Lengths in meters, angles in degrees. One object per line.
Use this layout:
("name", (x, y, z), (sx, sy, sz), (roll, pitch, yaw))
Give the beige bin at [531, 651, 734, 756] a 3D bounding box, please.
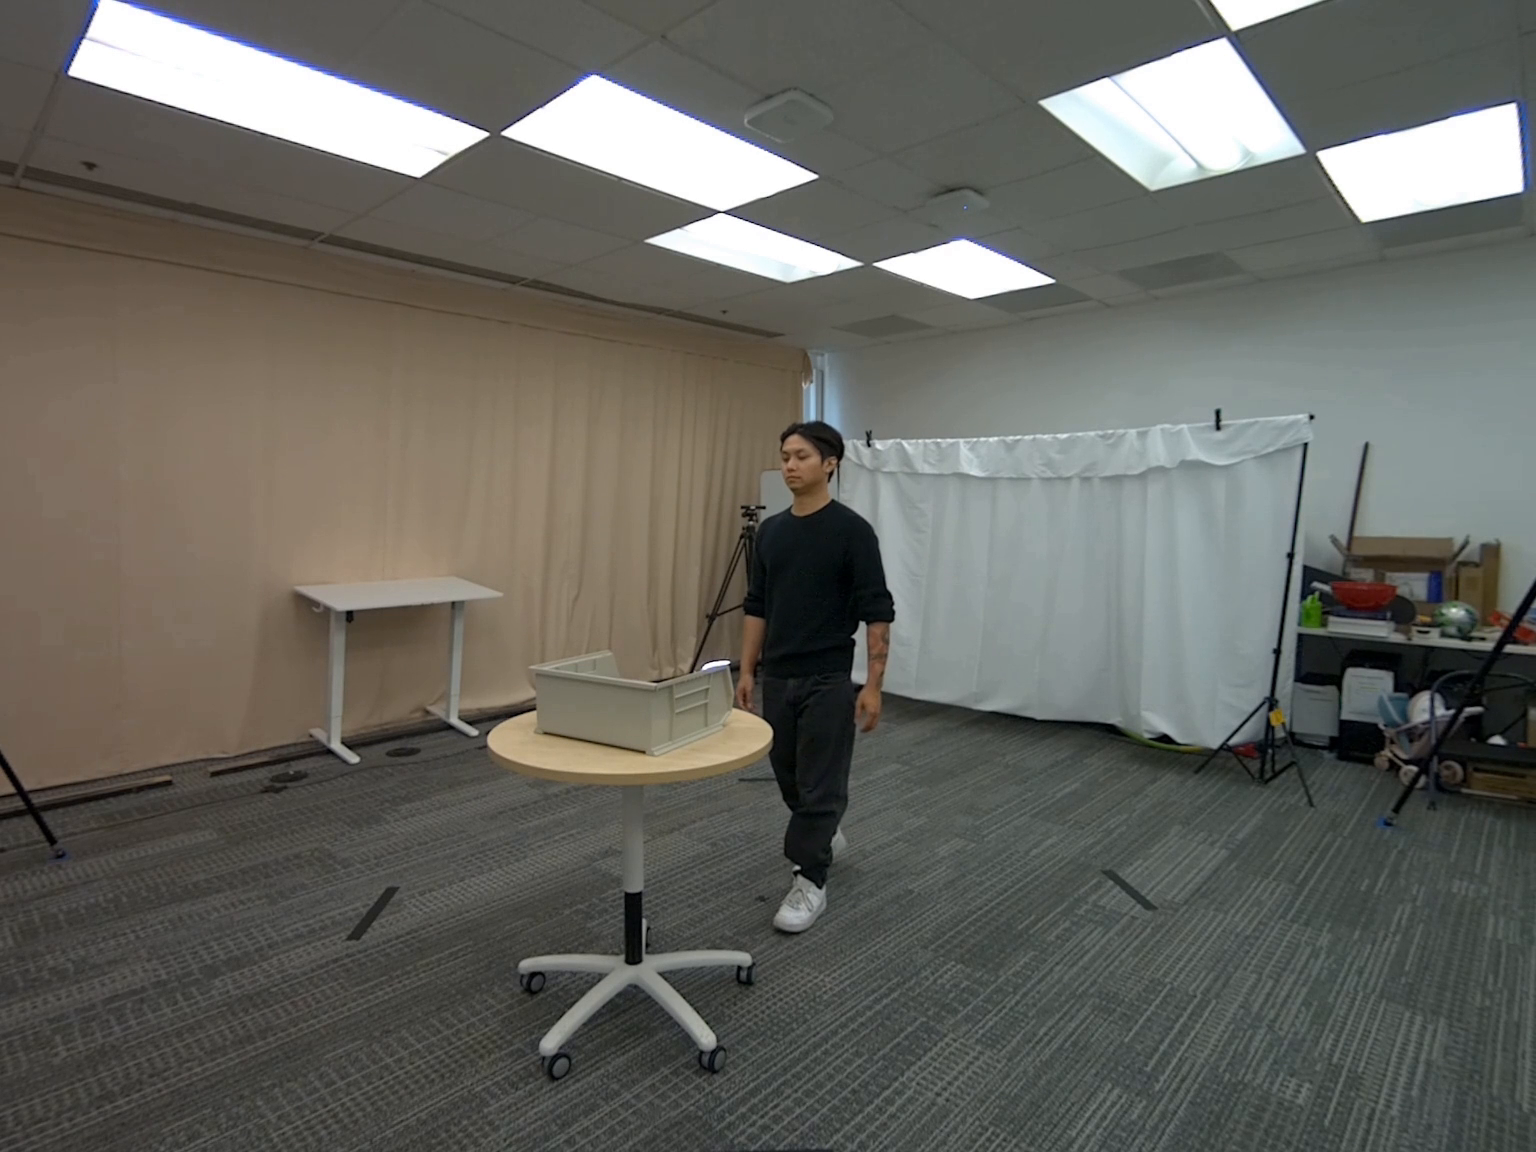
("beige bin", (-0.369, 0.335, 2.289), (0.435, 0.188, 0.367), (3, 5, 30))
